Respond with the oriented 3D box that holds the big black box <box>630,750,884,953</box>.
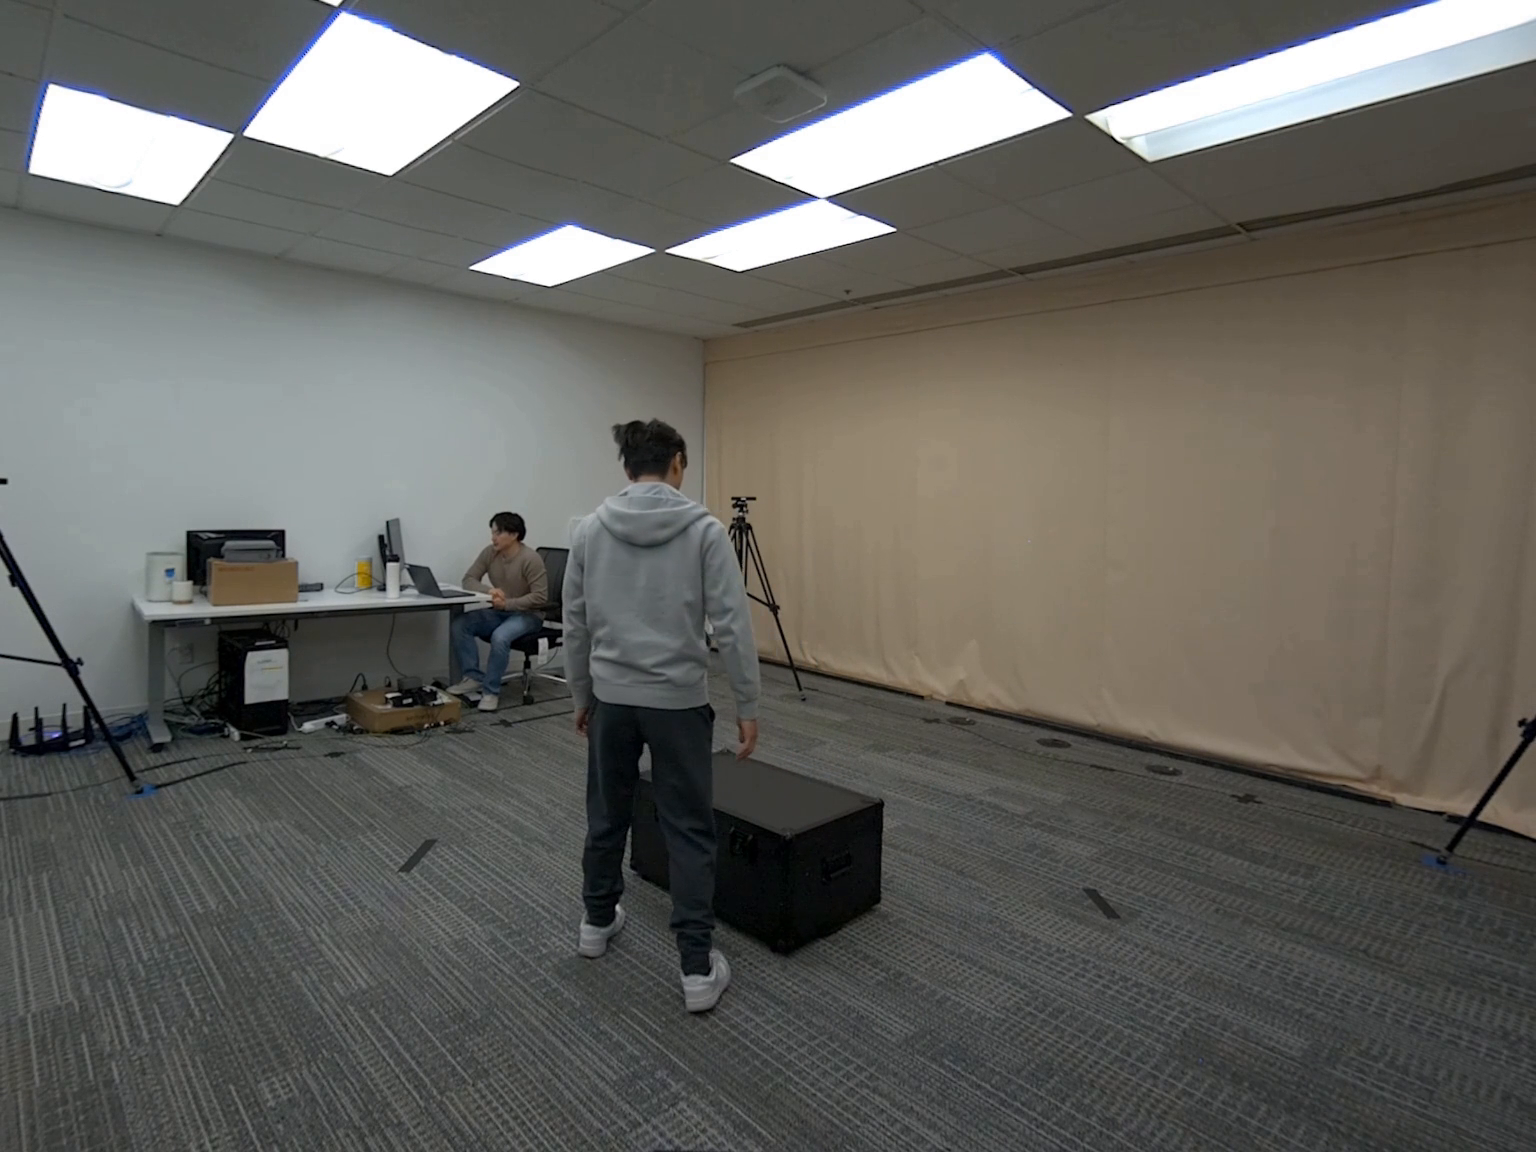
[{"bbox_3d":[-0.085,0.926,3.000,0.884,0.395,0.509,7,7,44],"label":"big black box"}]
